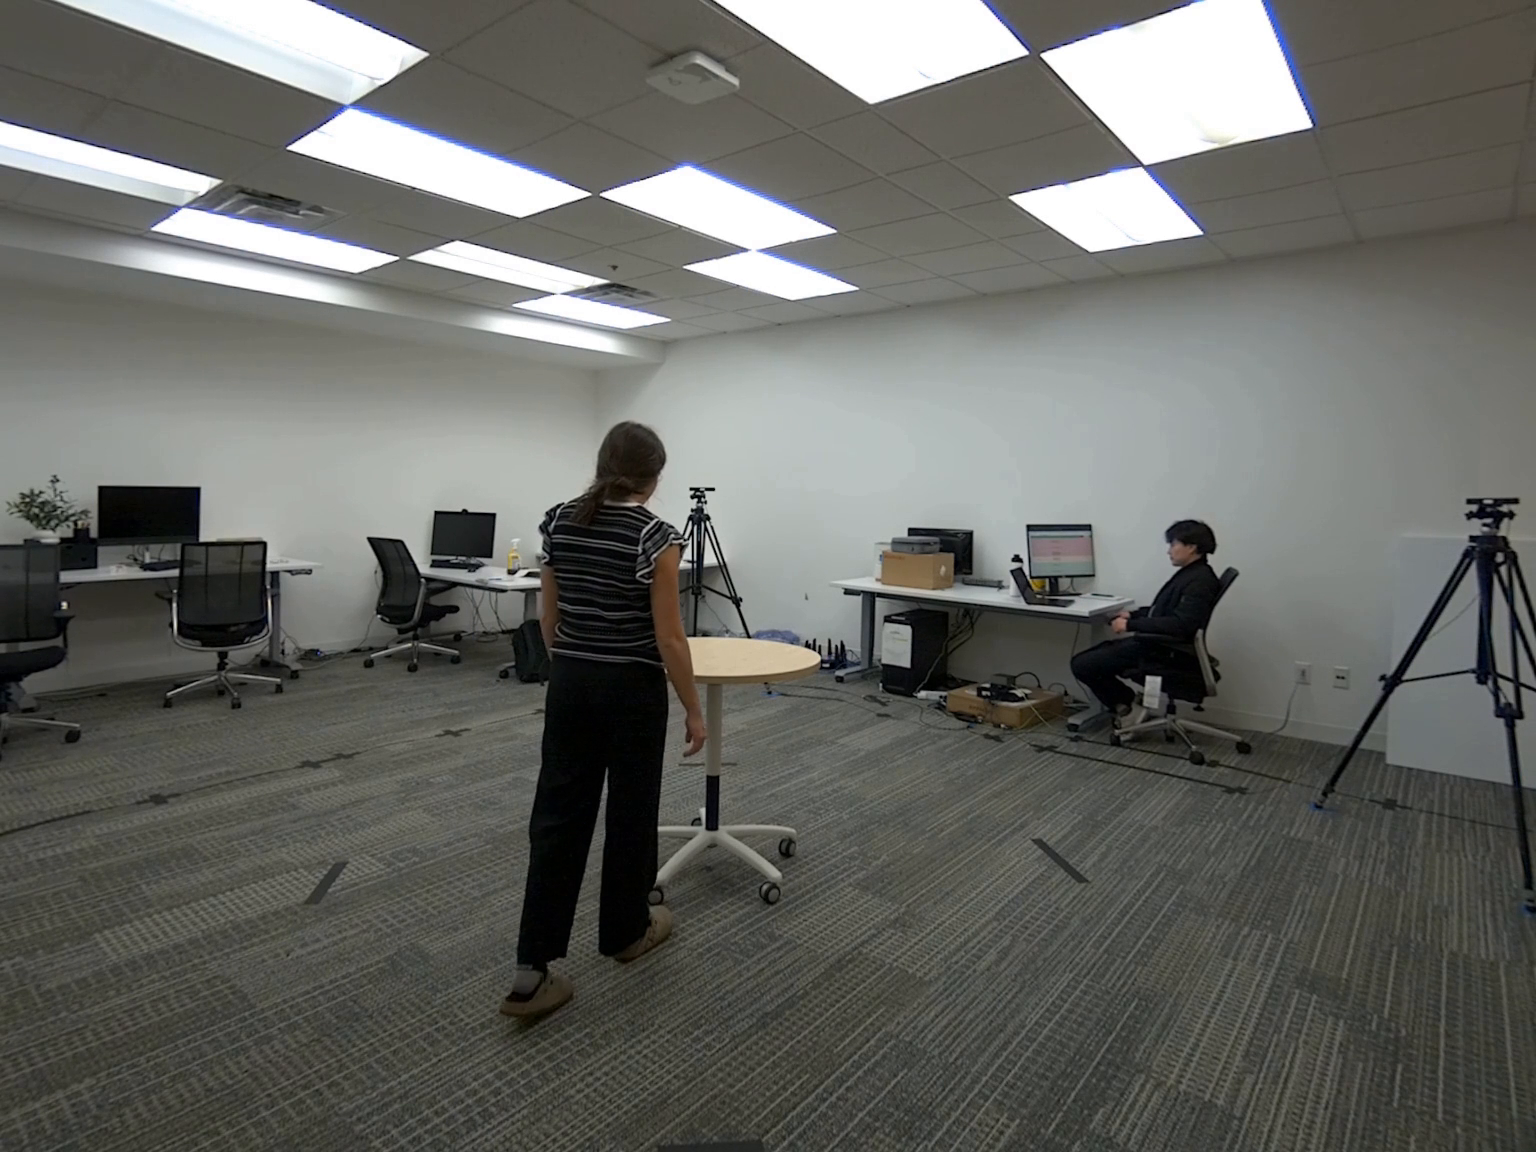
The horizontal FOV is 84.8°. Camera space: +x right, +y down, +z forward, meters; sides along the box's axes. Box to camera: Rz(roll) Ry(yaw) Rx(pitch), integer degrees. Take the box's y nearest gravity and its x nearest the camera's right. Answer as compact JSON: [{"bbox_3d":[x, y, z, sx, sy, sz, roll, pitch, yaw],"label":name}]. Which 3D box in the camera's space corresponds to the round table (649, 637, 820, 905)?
[{"bbox_3d":[-0.207,0.676,3.110,0.763,0.792,0.767,1,4,-2],"label":"round table"}]
